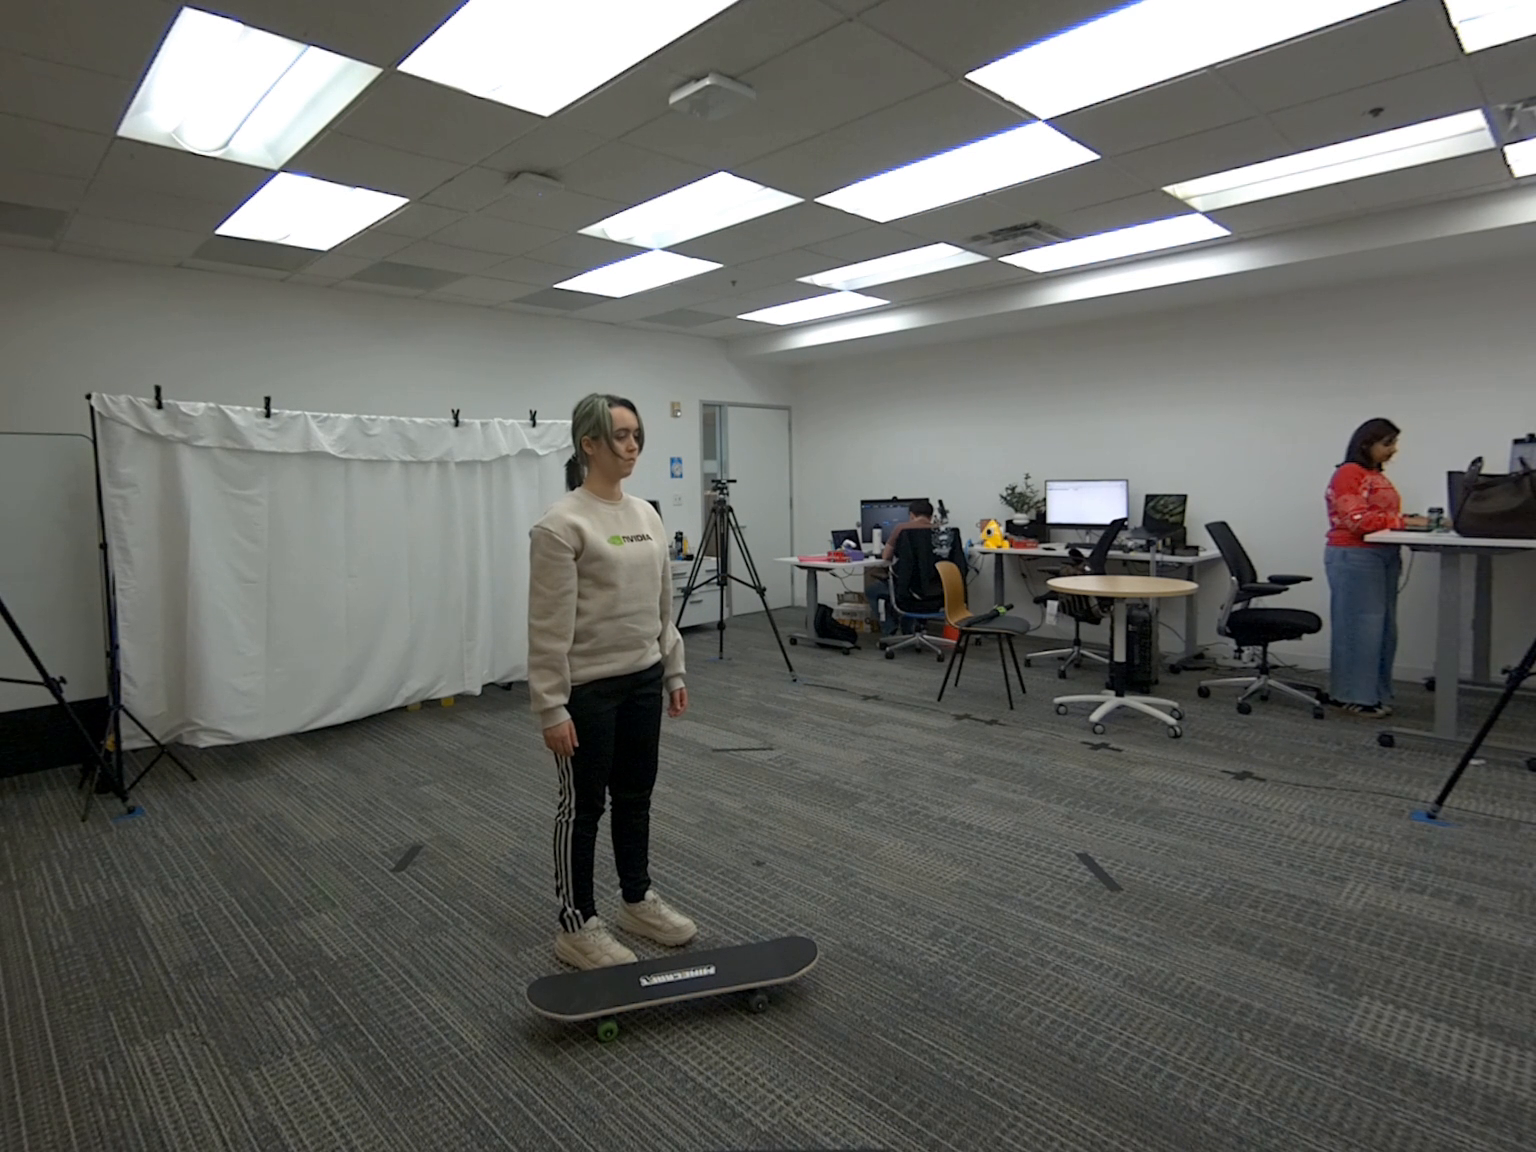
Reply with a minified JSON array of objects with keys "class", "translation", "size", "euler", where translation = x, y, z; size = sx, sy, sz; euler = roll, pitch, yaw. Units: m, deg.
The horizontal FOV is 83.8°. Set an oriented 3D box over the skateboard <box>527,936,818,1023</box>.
[{"class":"skateboard","translation":[-0.232,1.091,2.270],"size":[0.775,0.110,0.197],"euler":[-3,6,-15]}]
